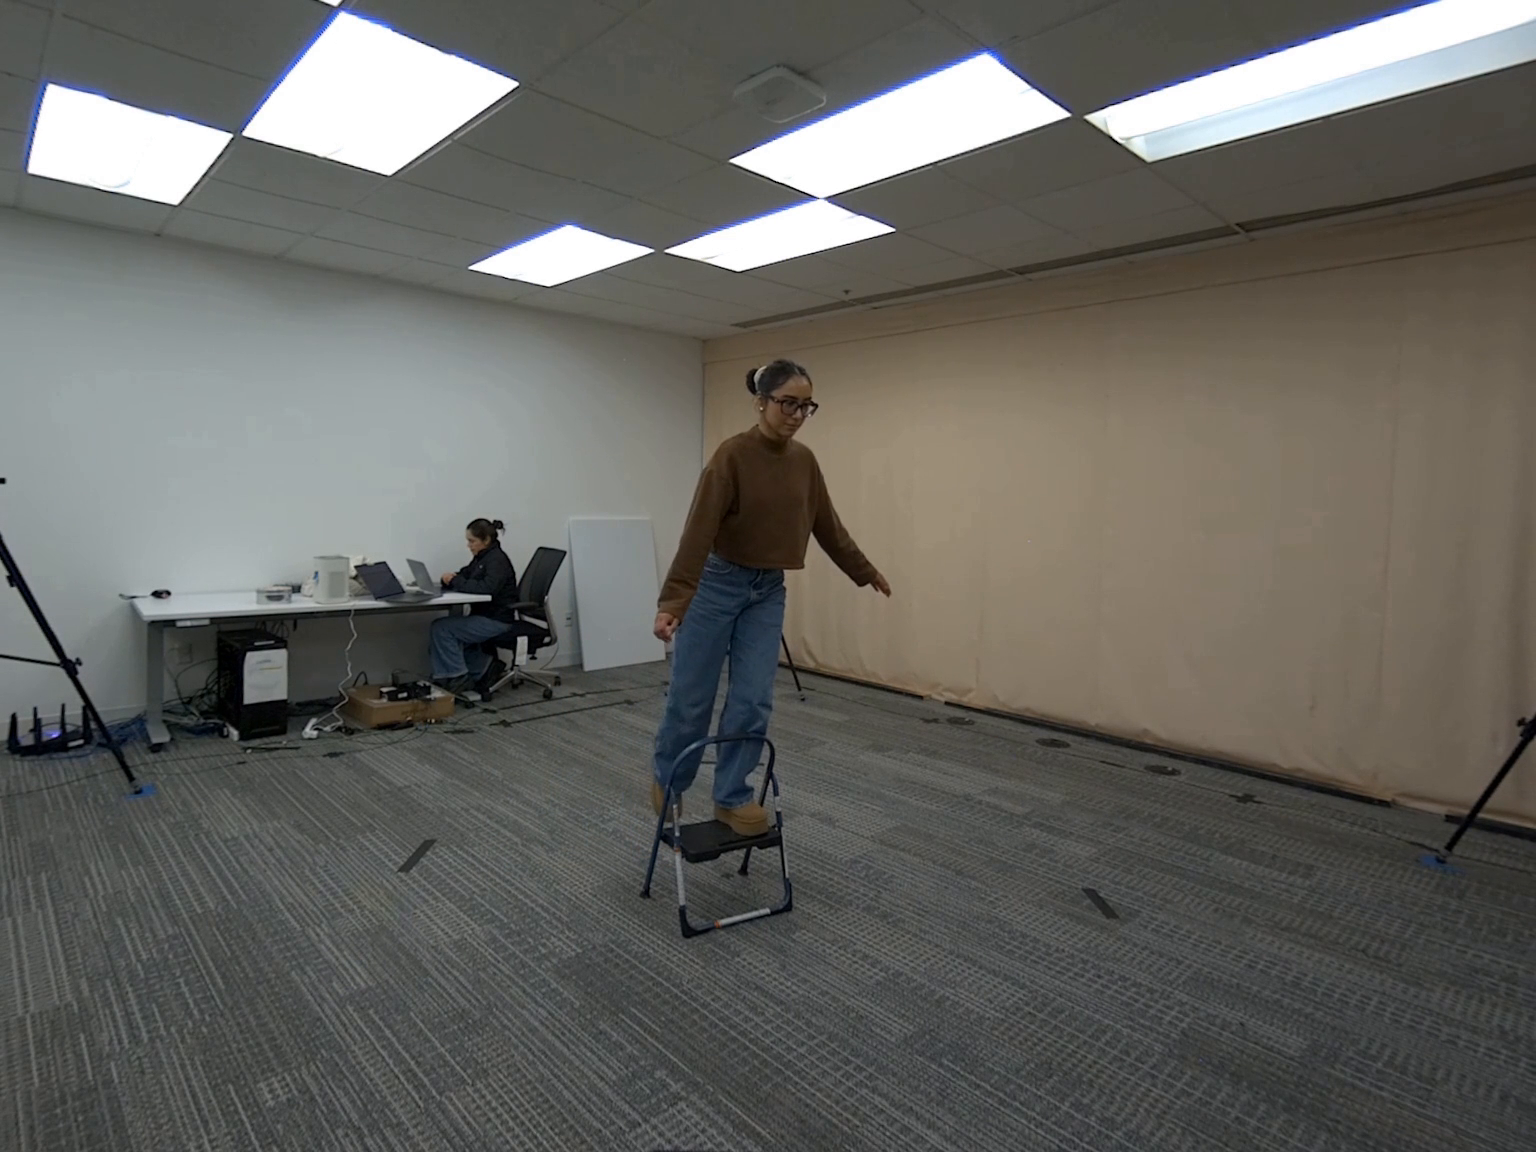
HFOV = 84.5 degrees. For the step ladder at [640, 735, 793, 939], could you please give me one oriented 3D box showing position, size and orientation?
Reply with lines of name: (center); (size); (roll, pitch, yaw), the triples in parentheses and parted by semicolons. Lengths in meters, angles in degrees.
step ladder: (-0.176, 0.826, 2.878); (0.421, 0.605, 0.357); (0, 4, -32)
